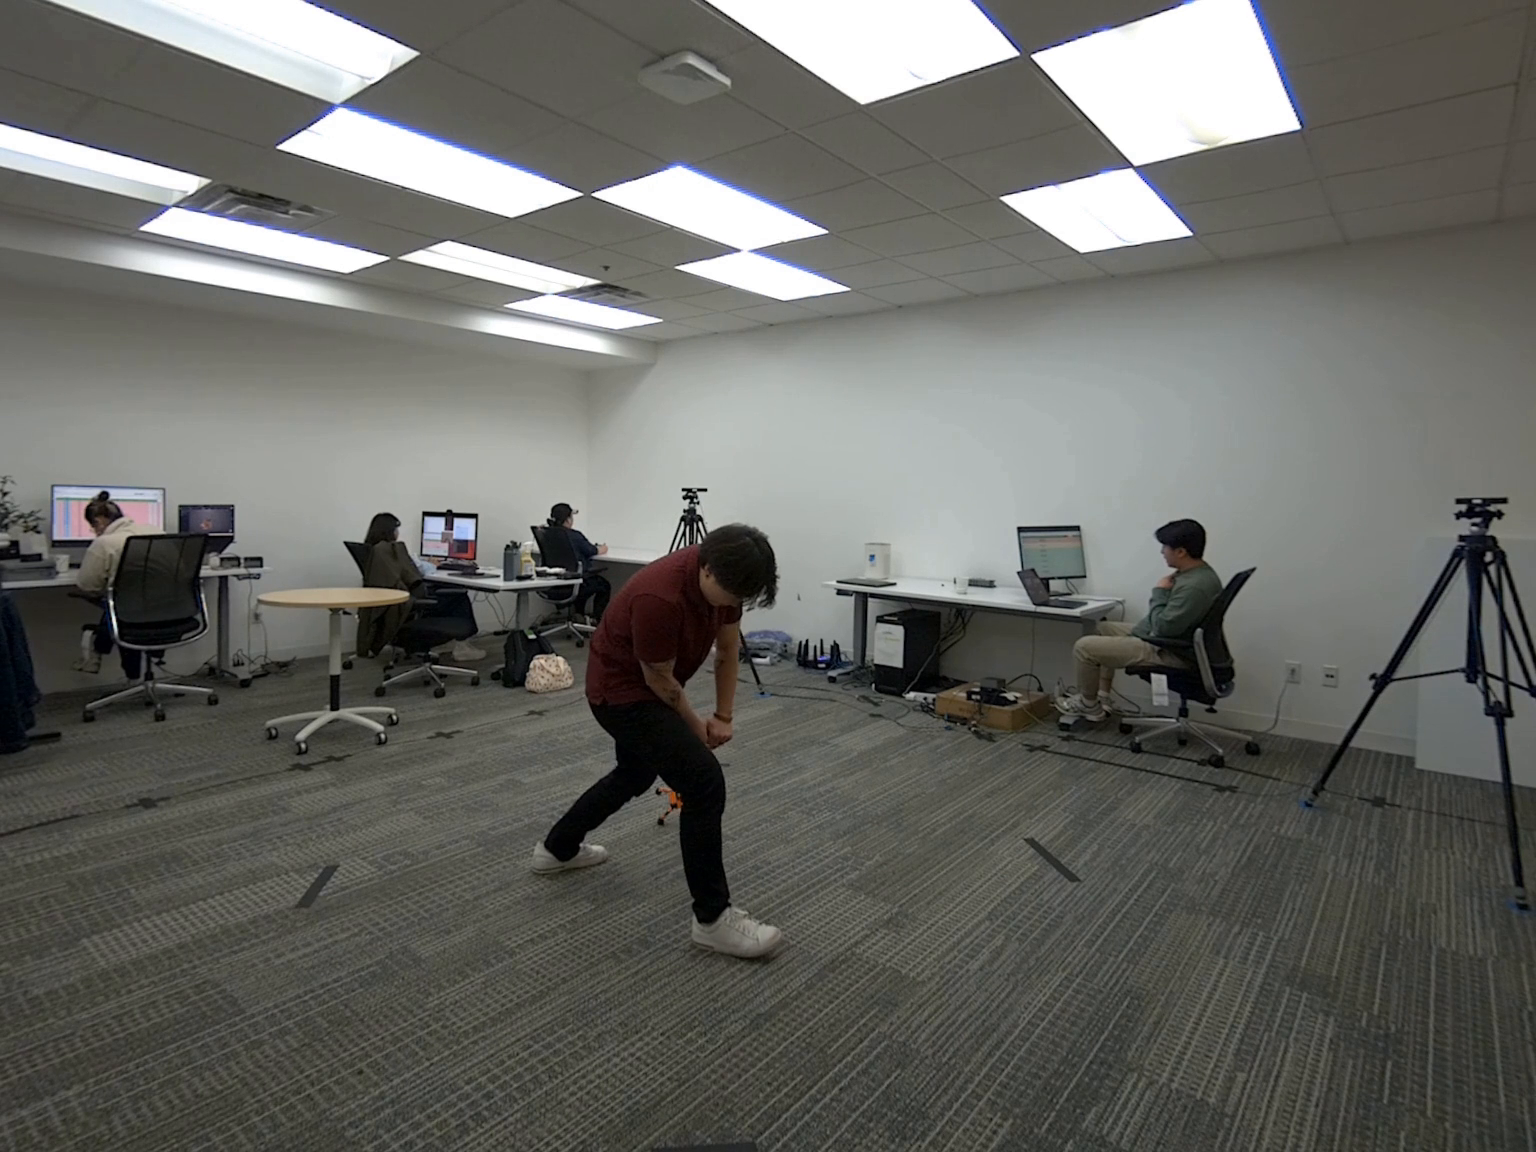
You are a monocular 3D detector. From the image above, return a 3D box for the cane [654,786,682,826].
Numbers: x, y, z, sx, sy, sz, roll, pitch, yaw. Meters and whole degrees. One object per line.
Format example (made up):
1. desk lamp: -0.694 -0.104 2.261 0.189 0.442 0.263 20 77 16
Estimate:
1. cane: -0.280 0.739 3.197 0.203 0.156 0.895 1 -29 -14
